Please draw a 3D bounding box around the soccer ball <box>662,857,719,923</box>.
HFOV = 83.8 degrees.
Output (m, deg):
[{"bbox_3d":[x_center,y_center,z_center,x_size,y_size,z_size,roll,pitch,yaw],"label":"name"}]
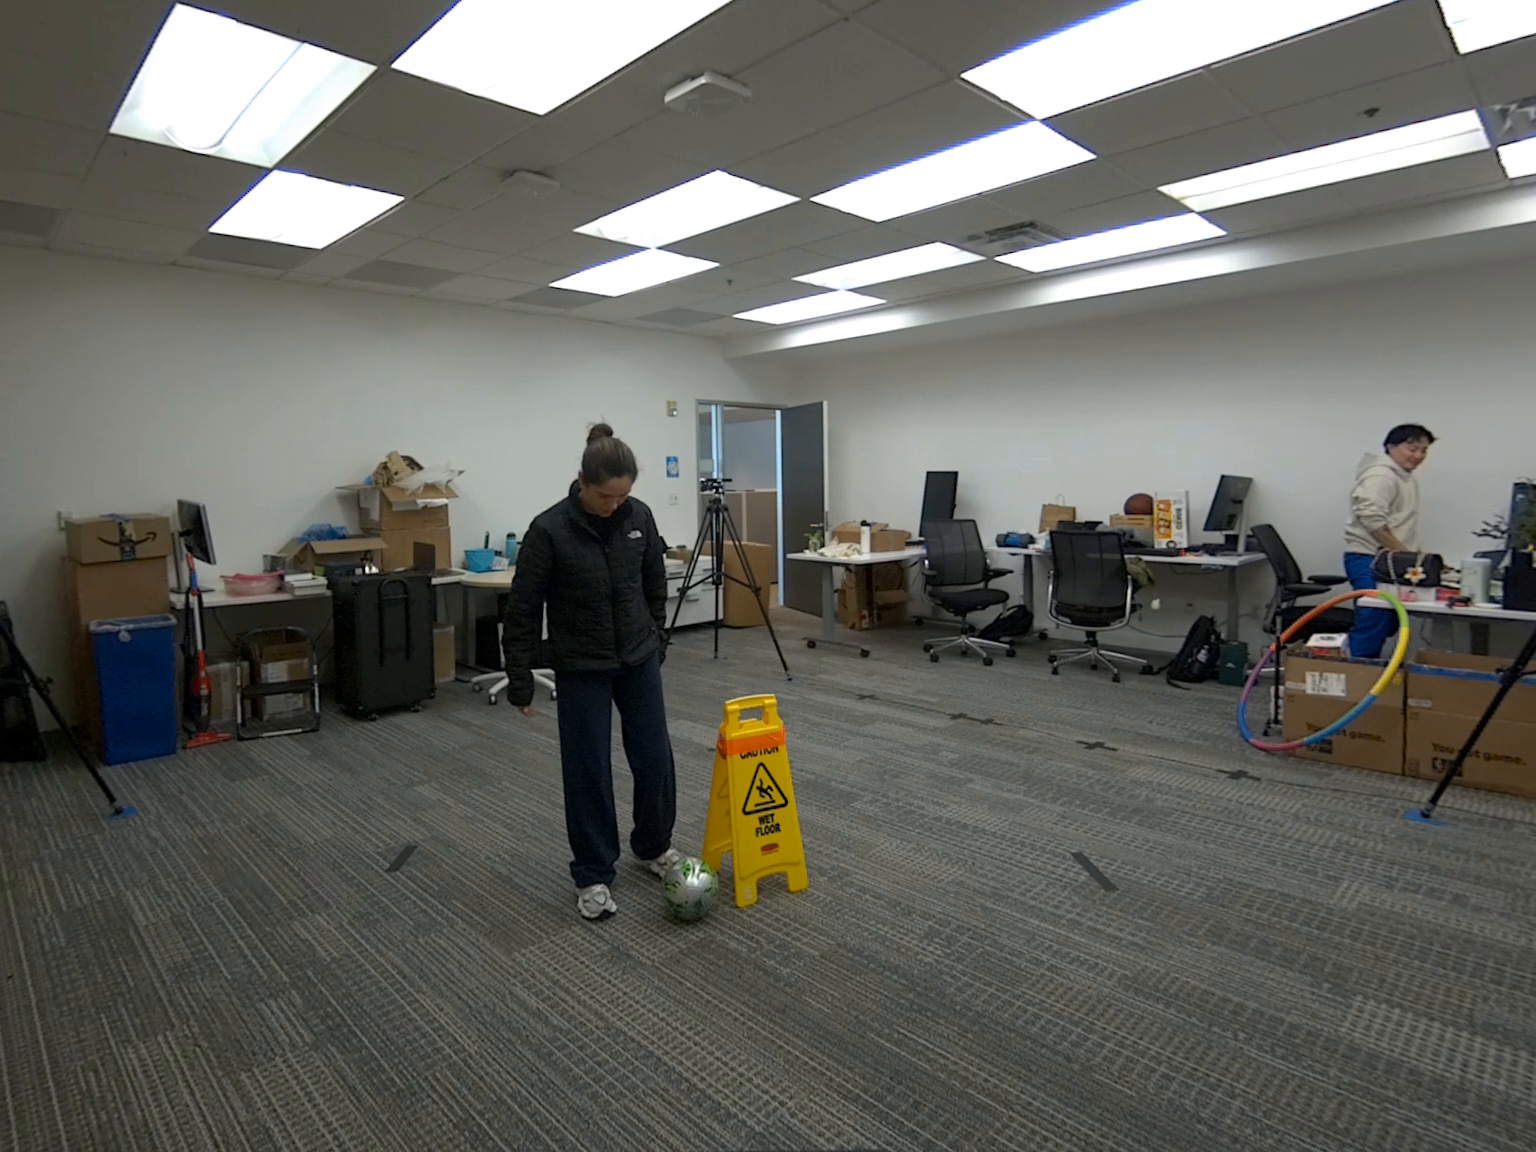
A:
[{"bbox_3d":[-0.249,1.000,2.730,0.187,0.187,0.188,-1,5,-2],"label":"soccer ball"}]
